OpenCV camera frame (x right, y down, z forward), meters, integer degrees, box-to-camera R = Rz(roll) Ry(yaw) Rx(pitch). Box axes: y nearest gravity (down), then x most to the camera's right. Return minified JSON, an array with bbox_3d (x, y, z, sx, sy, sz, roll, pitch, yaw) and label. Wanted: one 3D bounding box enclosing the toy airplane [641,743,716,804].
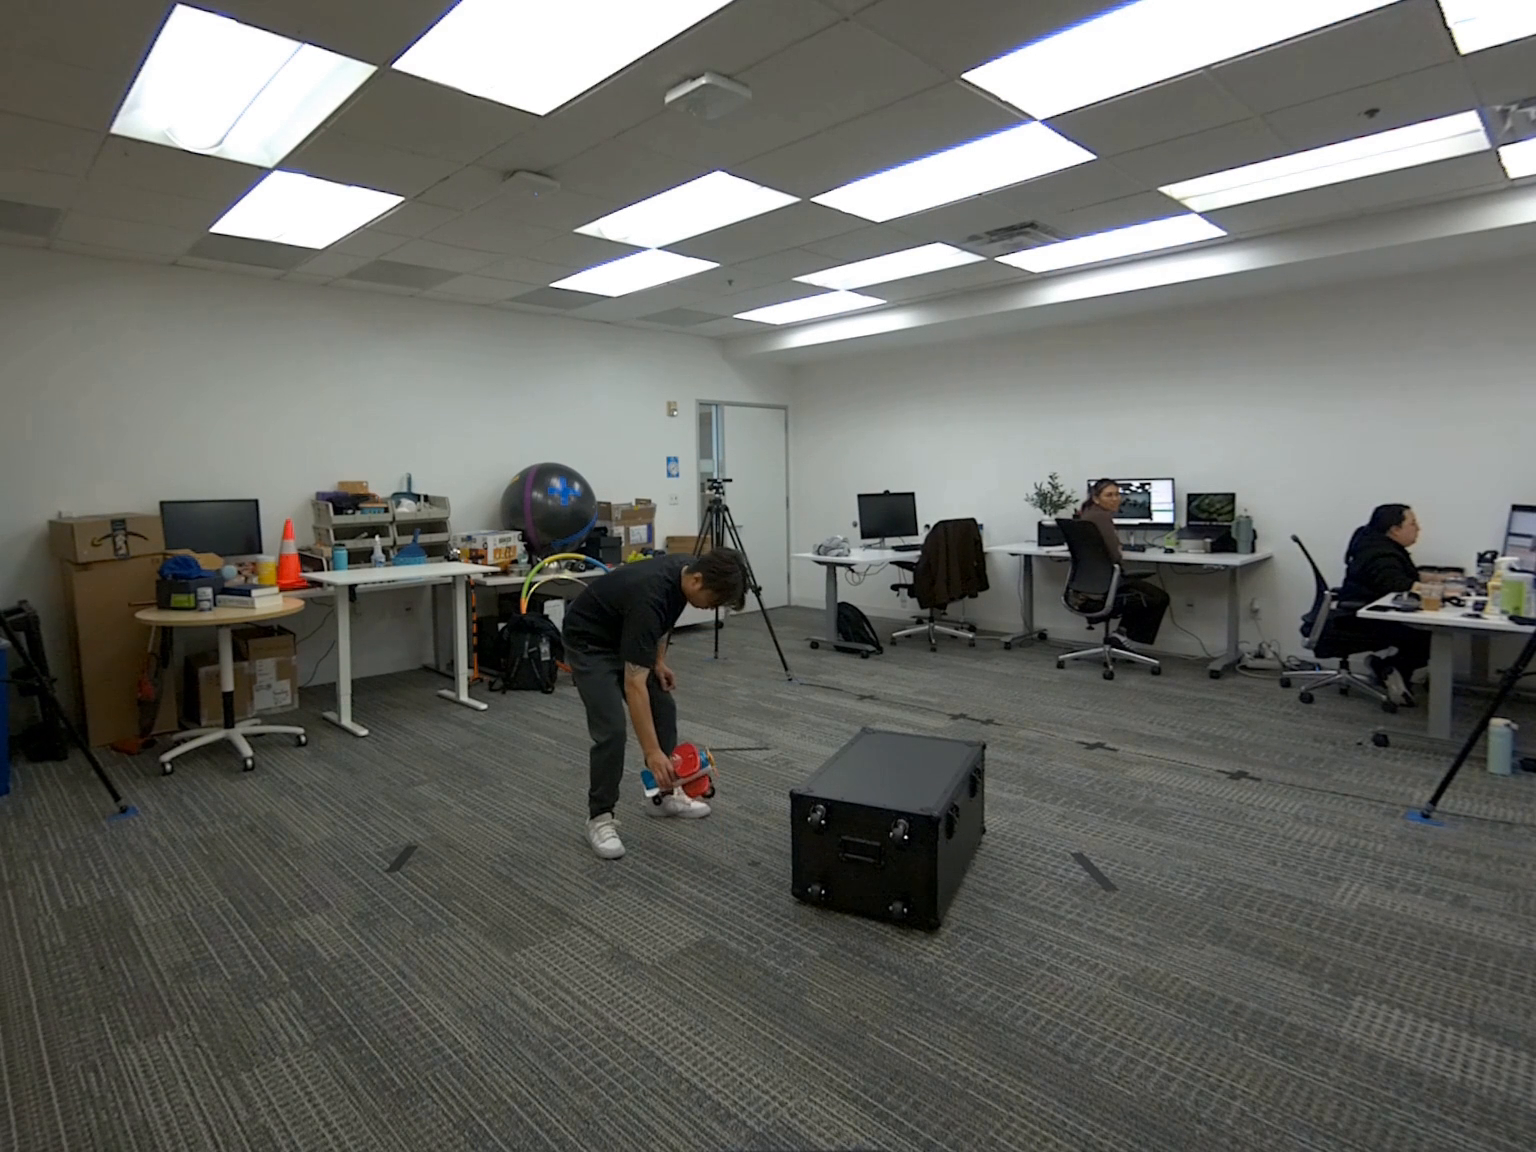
[{"bbox_3d":[-0.303,0.708,2.980,0.254,0.155,0.258,-15,12,-37],"label":"toy airplane"}]
